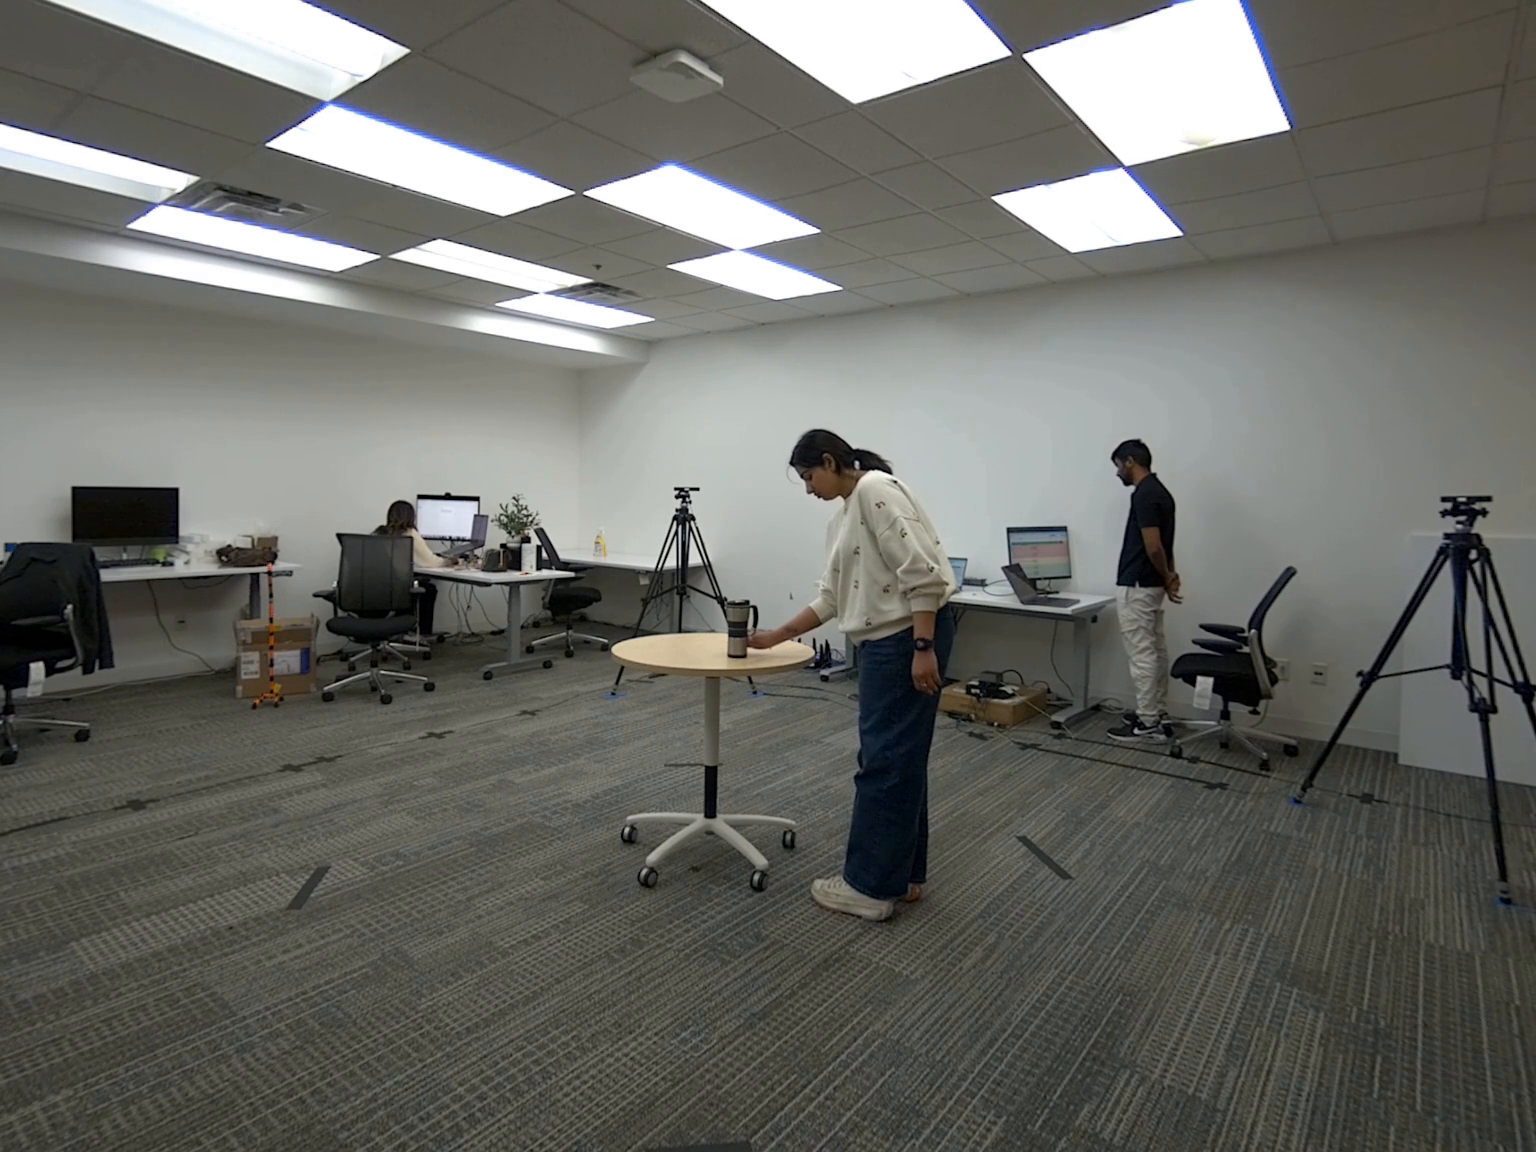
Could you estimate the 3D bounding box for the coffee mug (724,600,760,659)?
[{"bbox_3d":[-0.137,0.186,3.068,0.121,0.202,0.089,7,2,-10],"label":"coffee mug"}]
